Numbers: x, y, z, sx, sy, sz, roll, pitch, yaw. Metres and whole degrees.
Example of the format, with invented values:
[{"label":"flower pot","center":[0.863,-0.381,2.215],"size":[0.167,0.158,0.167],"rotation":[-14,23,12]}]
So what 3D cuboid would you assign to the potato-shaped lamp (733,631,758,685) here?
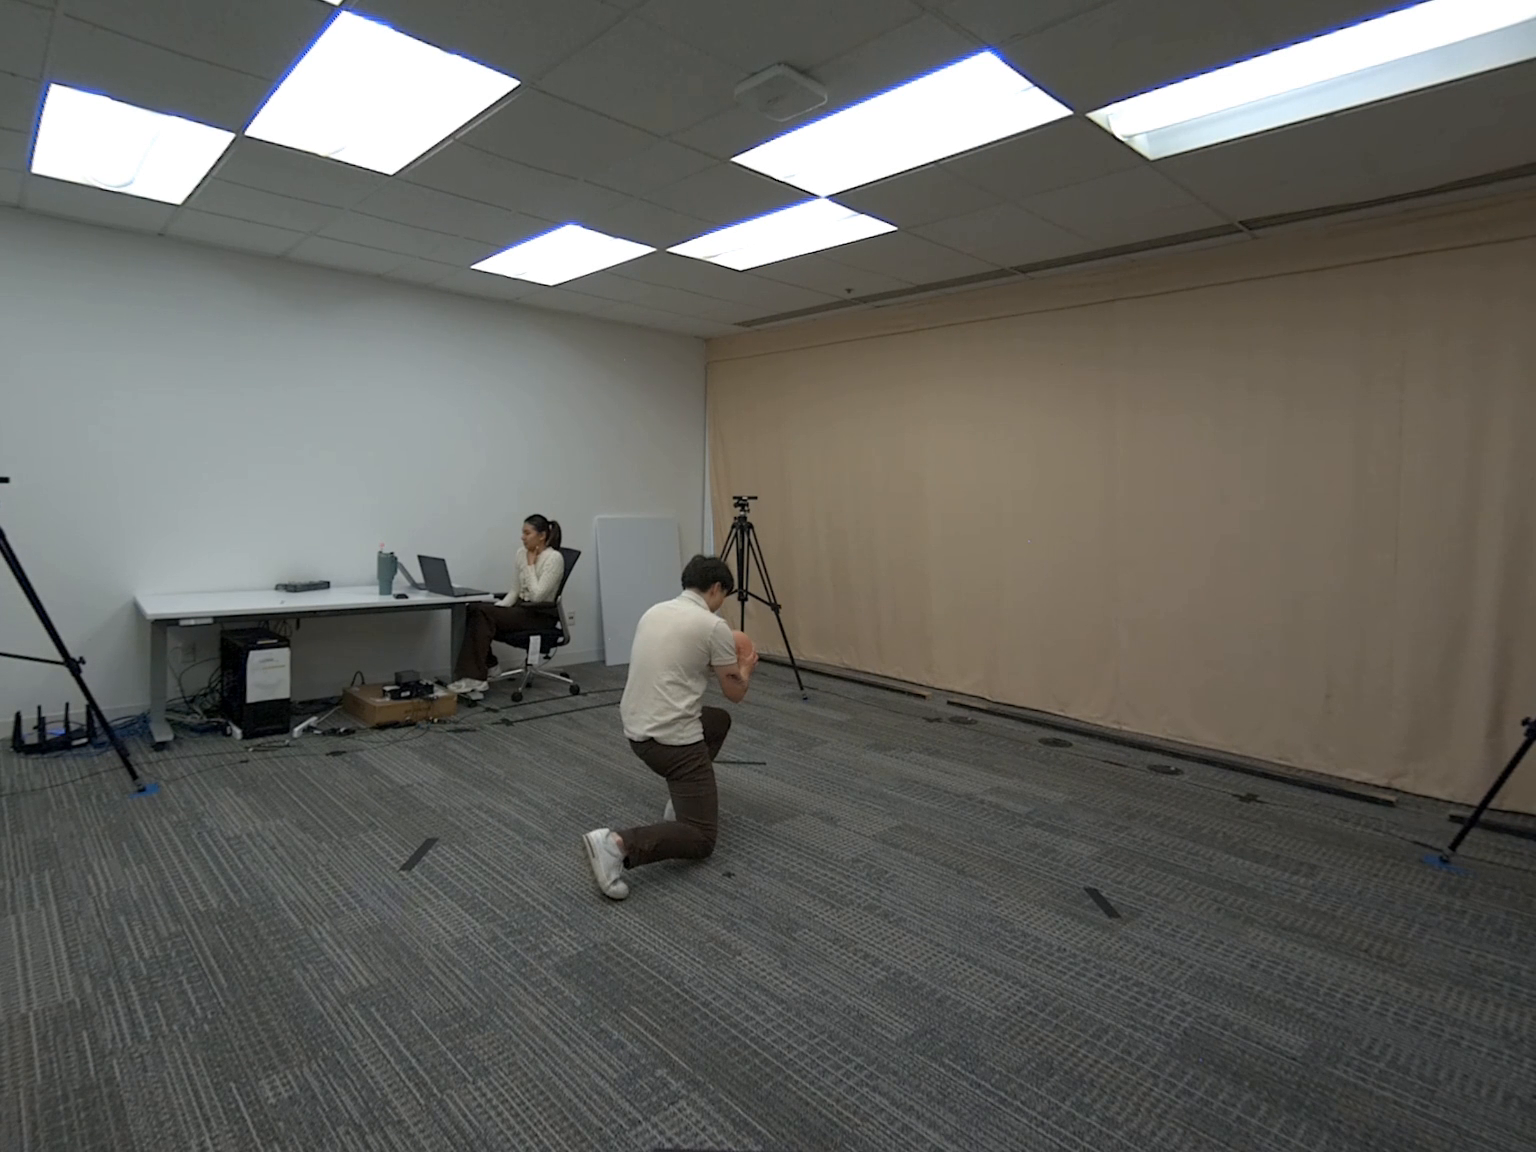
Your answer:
[{"label":"potato-shaped lamp","center":[-0.157,0.324,3.752],"size":[0.166,0.195,0.173],"rotation":[2,25,8]}]
